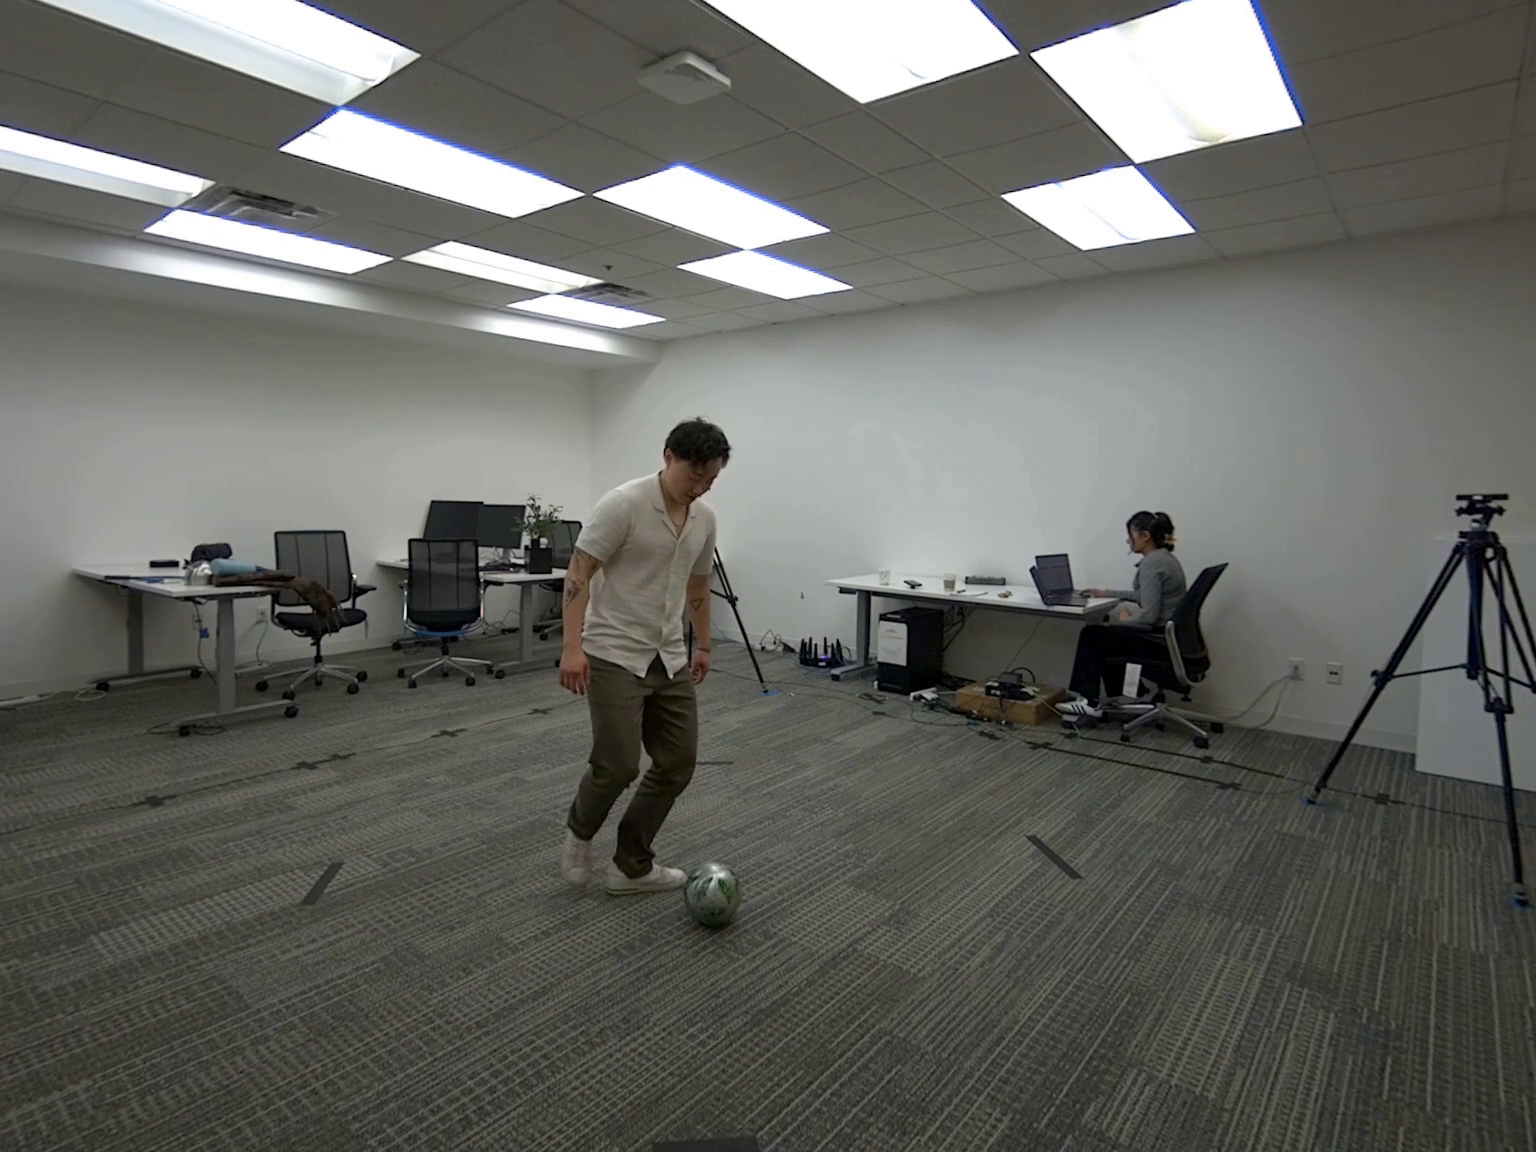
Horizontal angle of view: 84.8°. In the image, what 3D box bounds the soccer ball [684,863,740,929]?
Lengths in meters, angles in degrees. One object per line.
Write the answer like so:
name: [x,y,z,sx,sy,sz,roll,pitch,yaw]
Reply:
soccer ball: [-0.183,1.011,2.710,0.187,0.187,0.188,0,4,-2]
